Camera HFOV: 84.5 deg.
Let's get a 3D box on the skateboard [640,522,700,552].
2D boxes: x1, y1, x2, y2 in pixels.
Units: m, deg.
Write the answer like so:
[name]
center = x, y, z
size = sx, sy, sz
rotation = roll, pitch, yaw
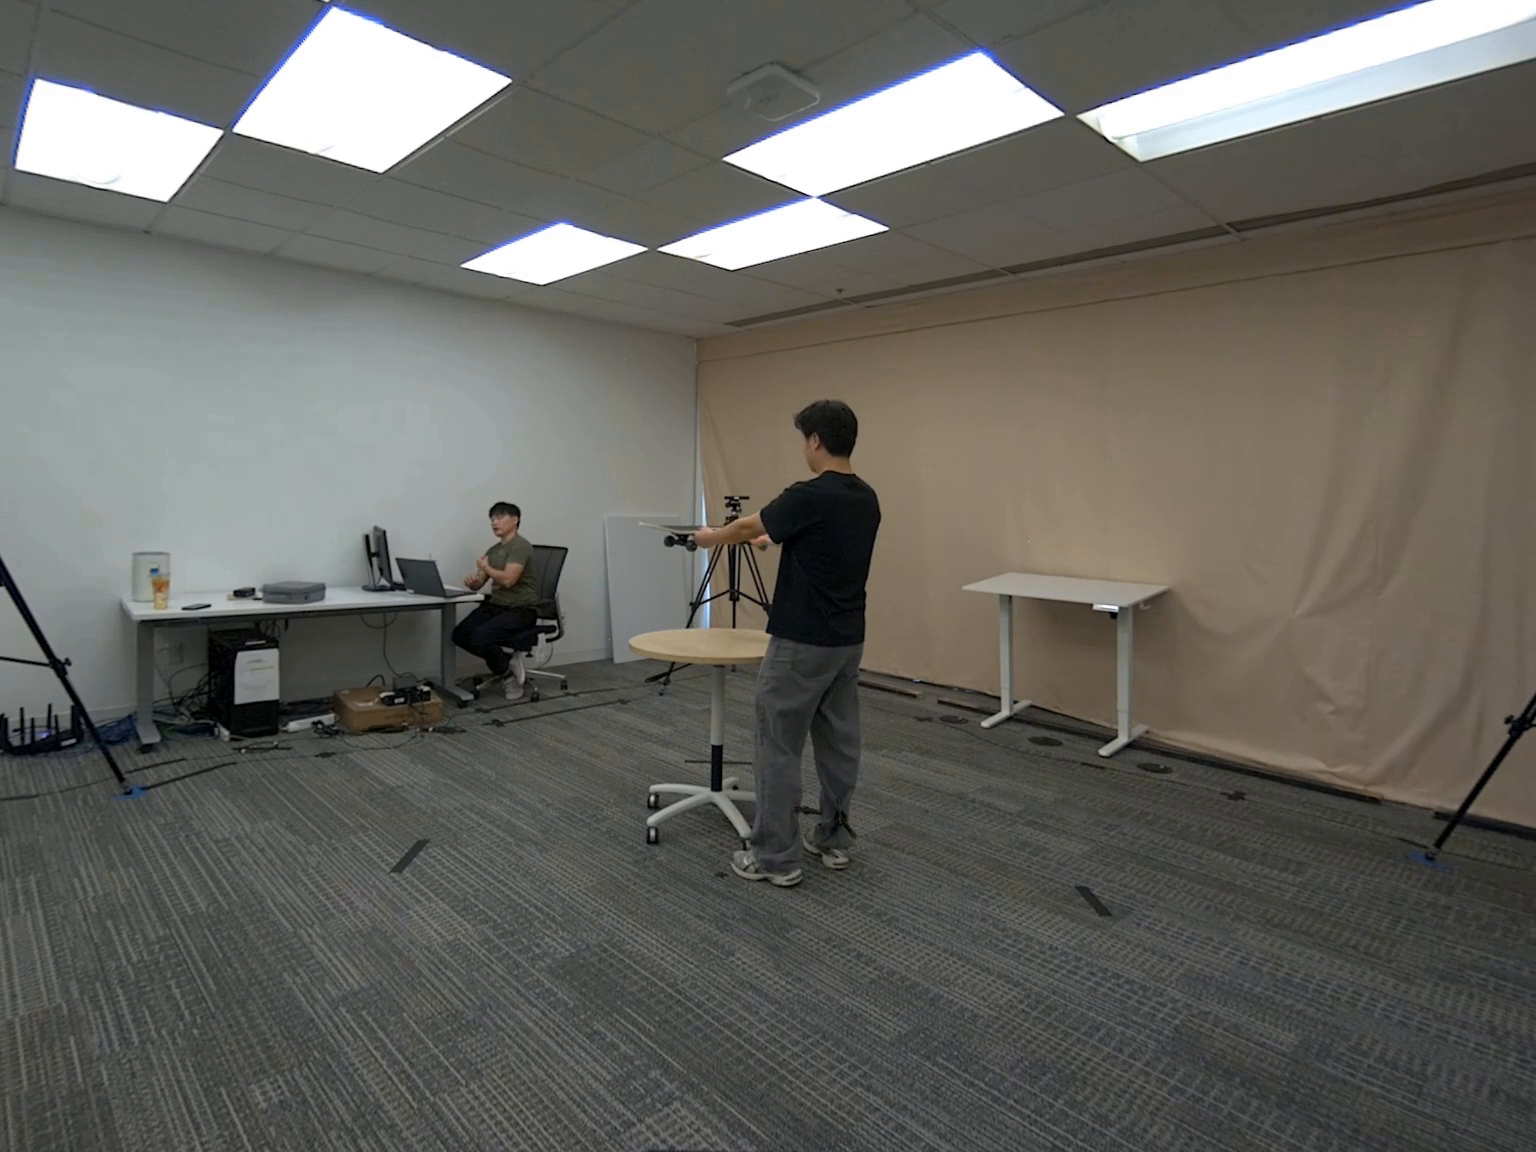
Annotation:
[skateboard]
center = -0.241, -0.165, 3.649
size = 0.768, 0.110, 0.198
rotation = 0, 6, -36
